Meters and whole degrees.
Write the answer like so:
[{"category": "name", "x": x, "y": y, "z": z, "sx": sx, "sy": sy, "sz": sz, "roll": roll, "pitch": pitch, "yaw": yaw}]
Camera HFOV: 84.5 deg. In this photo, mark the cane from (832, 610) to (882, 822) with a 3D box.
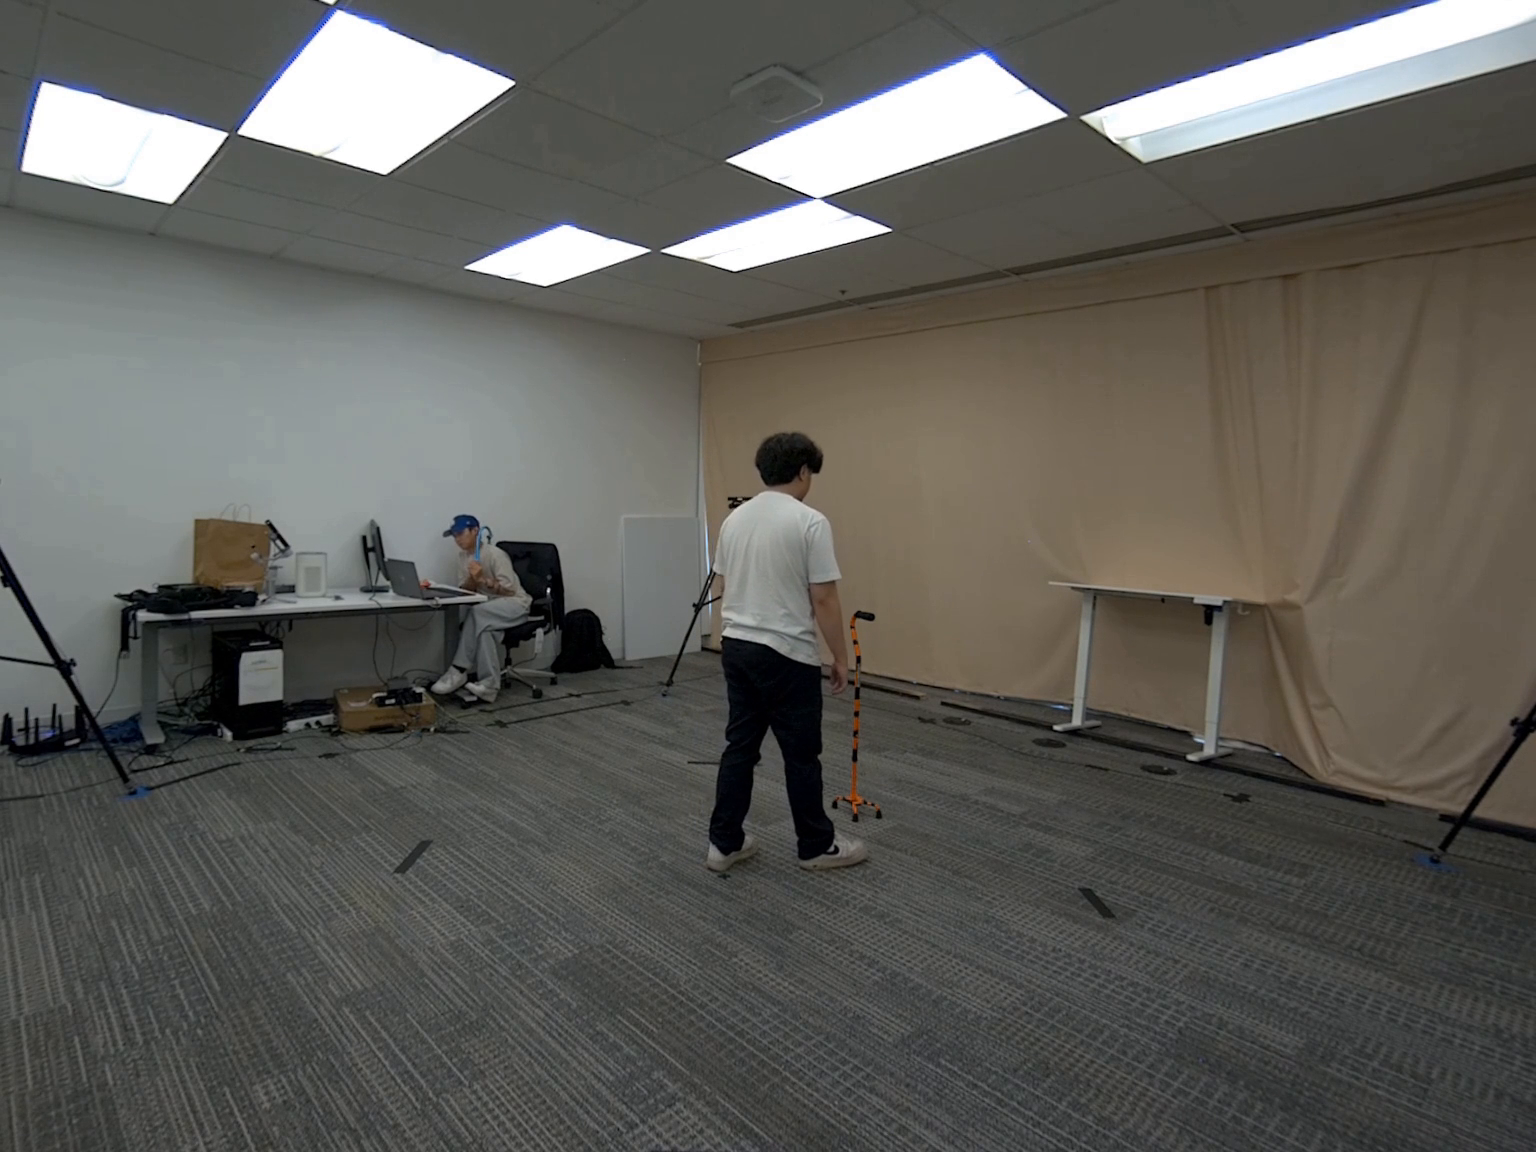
[{"category": "cane", "x": 0.403, "y": 0.615, "z": 3.766, "sx": 0.149, "sy": 0.906, "sz": 0.210, "roll": 1, "pitch": 2, "yaw": -25}]
